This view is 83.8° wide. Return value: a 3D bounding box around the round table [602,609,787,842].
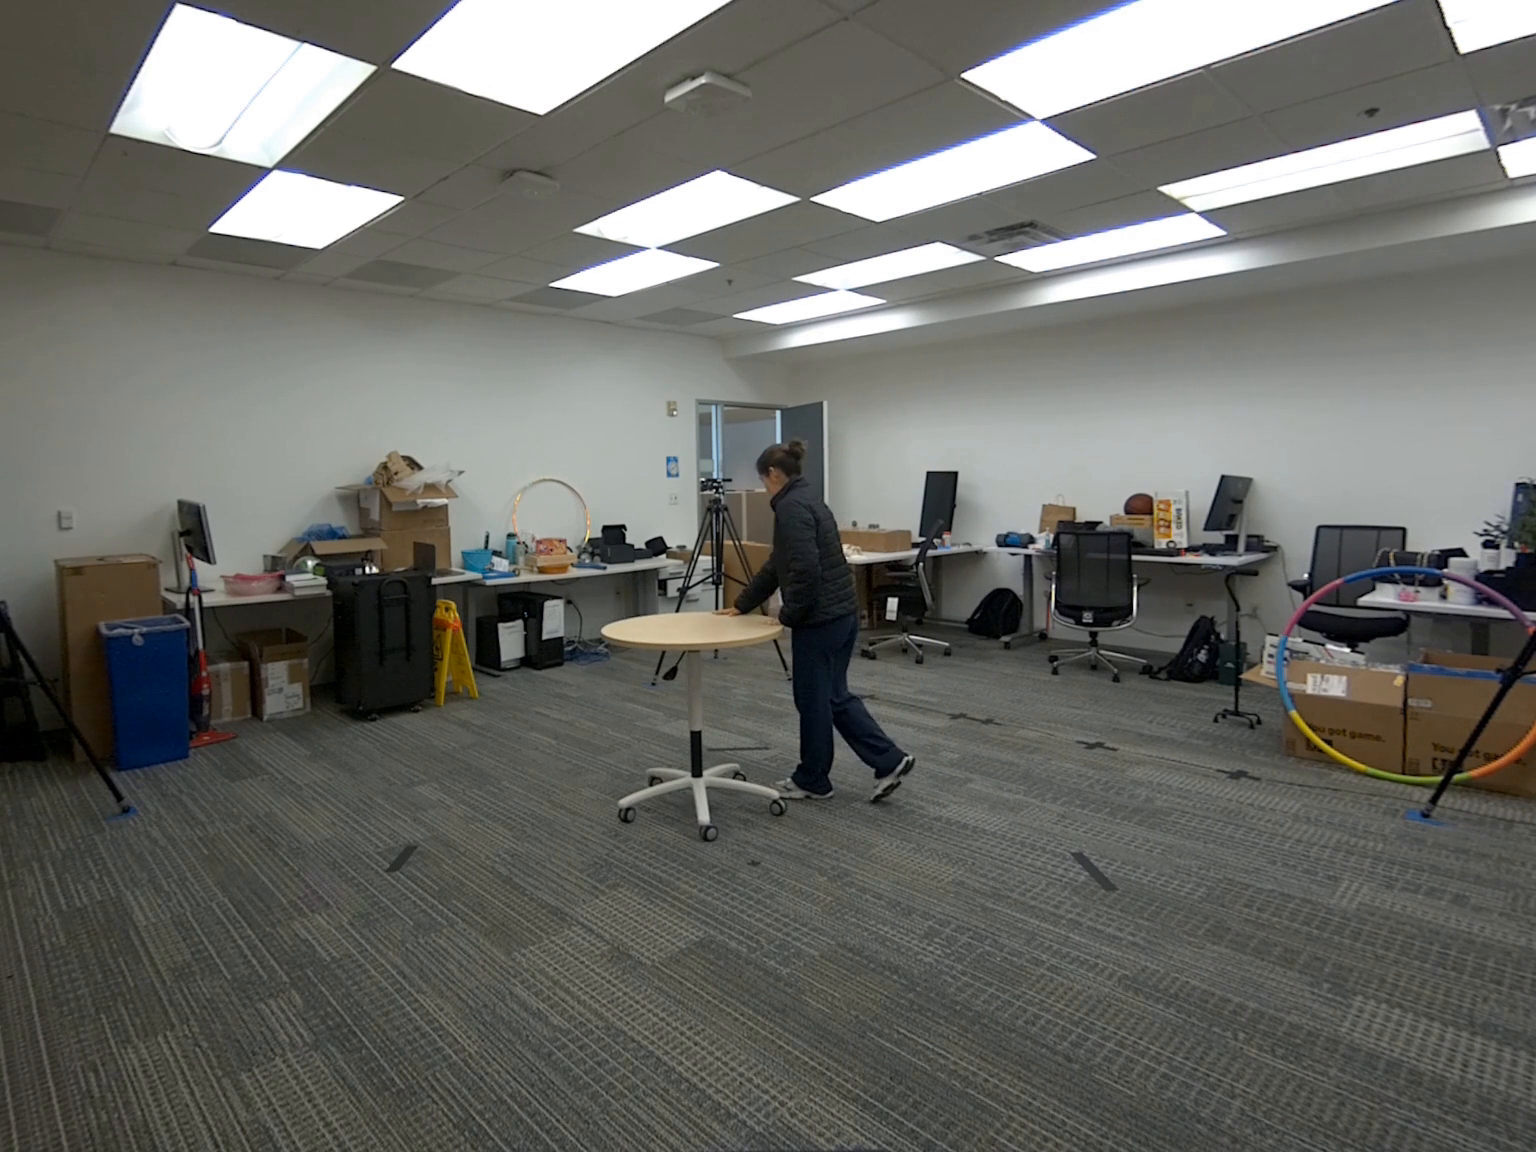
[{"bbox_3d":[-0.293,0.599,3.633,0.784,0.784,0.789,-1,5,-2],"label":"round table"}]
